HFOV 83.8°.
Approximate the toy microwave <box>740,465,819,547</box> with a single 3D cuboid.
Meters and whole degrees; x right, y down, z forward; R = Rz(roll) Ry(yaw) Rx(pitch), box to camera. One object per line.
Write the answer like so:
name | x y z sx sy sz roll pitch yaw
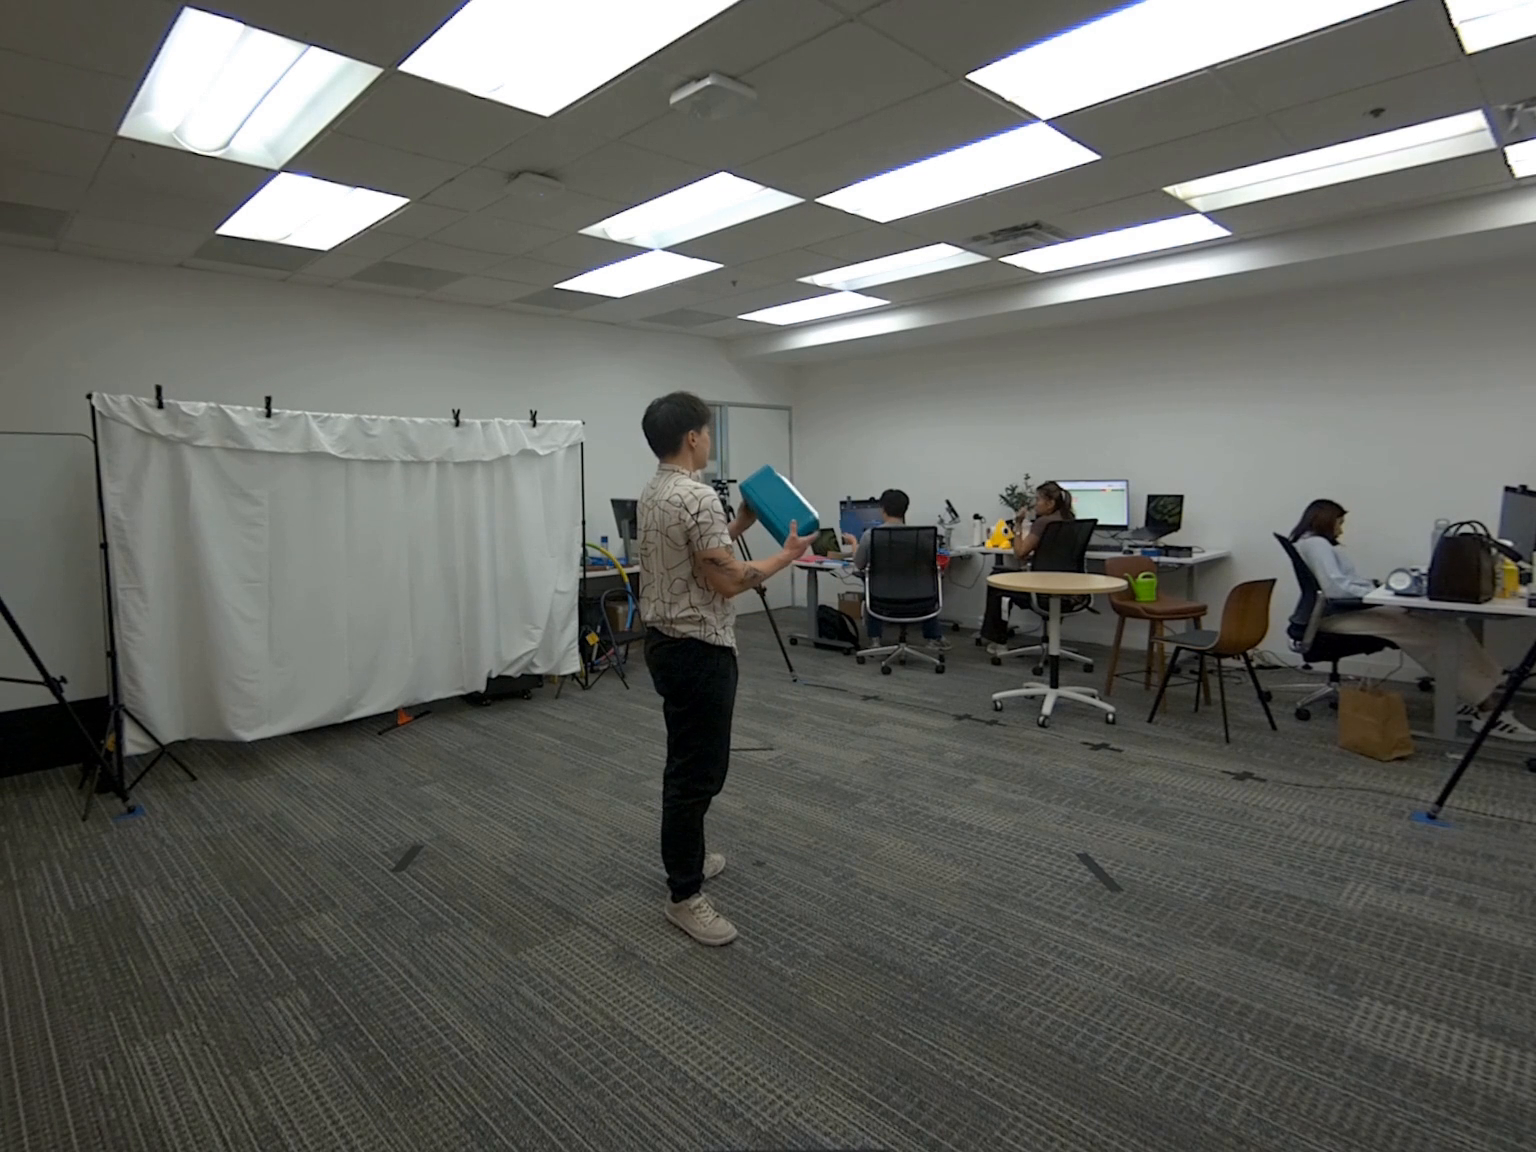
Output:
toy microwave | 0.048 -0.223 2.879 0.152 0.294 0.180 -37 -20 -7
